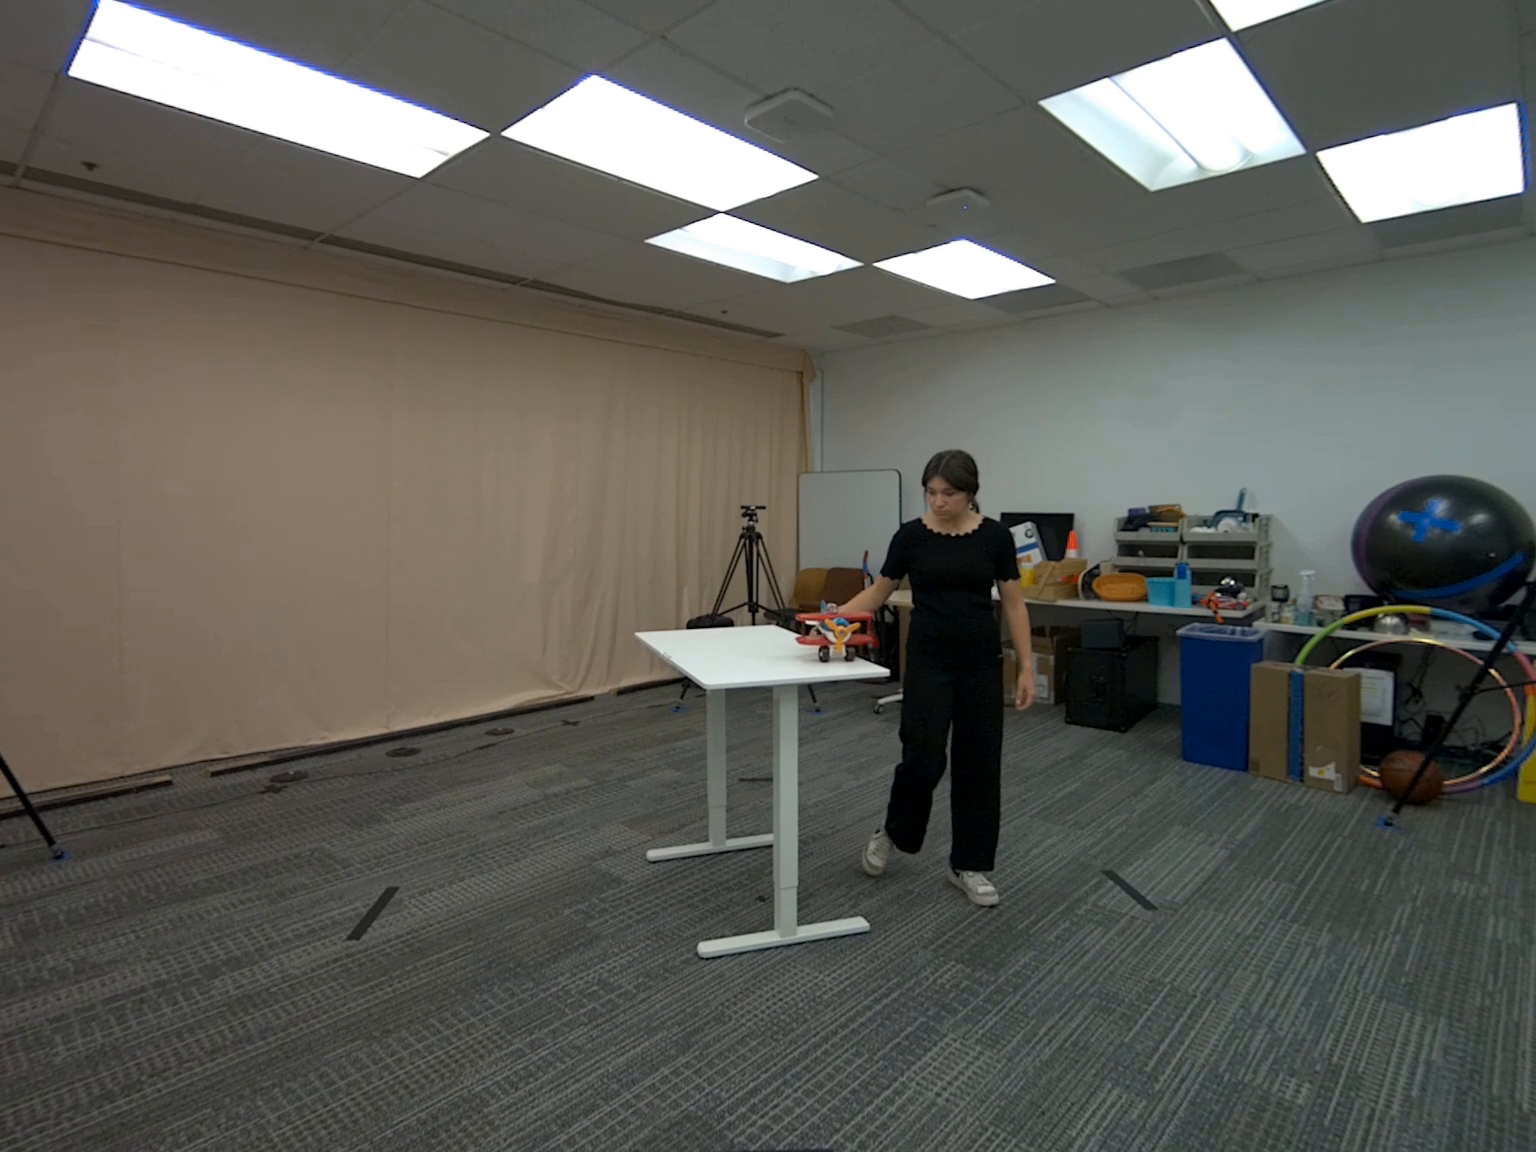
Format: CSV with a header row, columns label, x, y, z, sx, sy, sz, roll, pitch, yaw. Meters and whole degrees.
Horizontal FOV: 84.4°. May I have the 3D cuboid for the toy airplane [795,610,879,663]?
label,x,y,z,sx,sy,sz,roll,pitch,yaw
toy airplane,0.199,0.178,2.813,0.245,0.155,0.269,-13,25,-35
